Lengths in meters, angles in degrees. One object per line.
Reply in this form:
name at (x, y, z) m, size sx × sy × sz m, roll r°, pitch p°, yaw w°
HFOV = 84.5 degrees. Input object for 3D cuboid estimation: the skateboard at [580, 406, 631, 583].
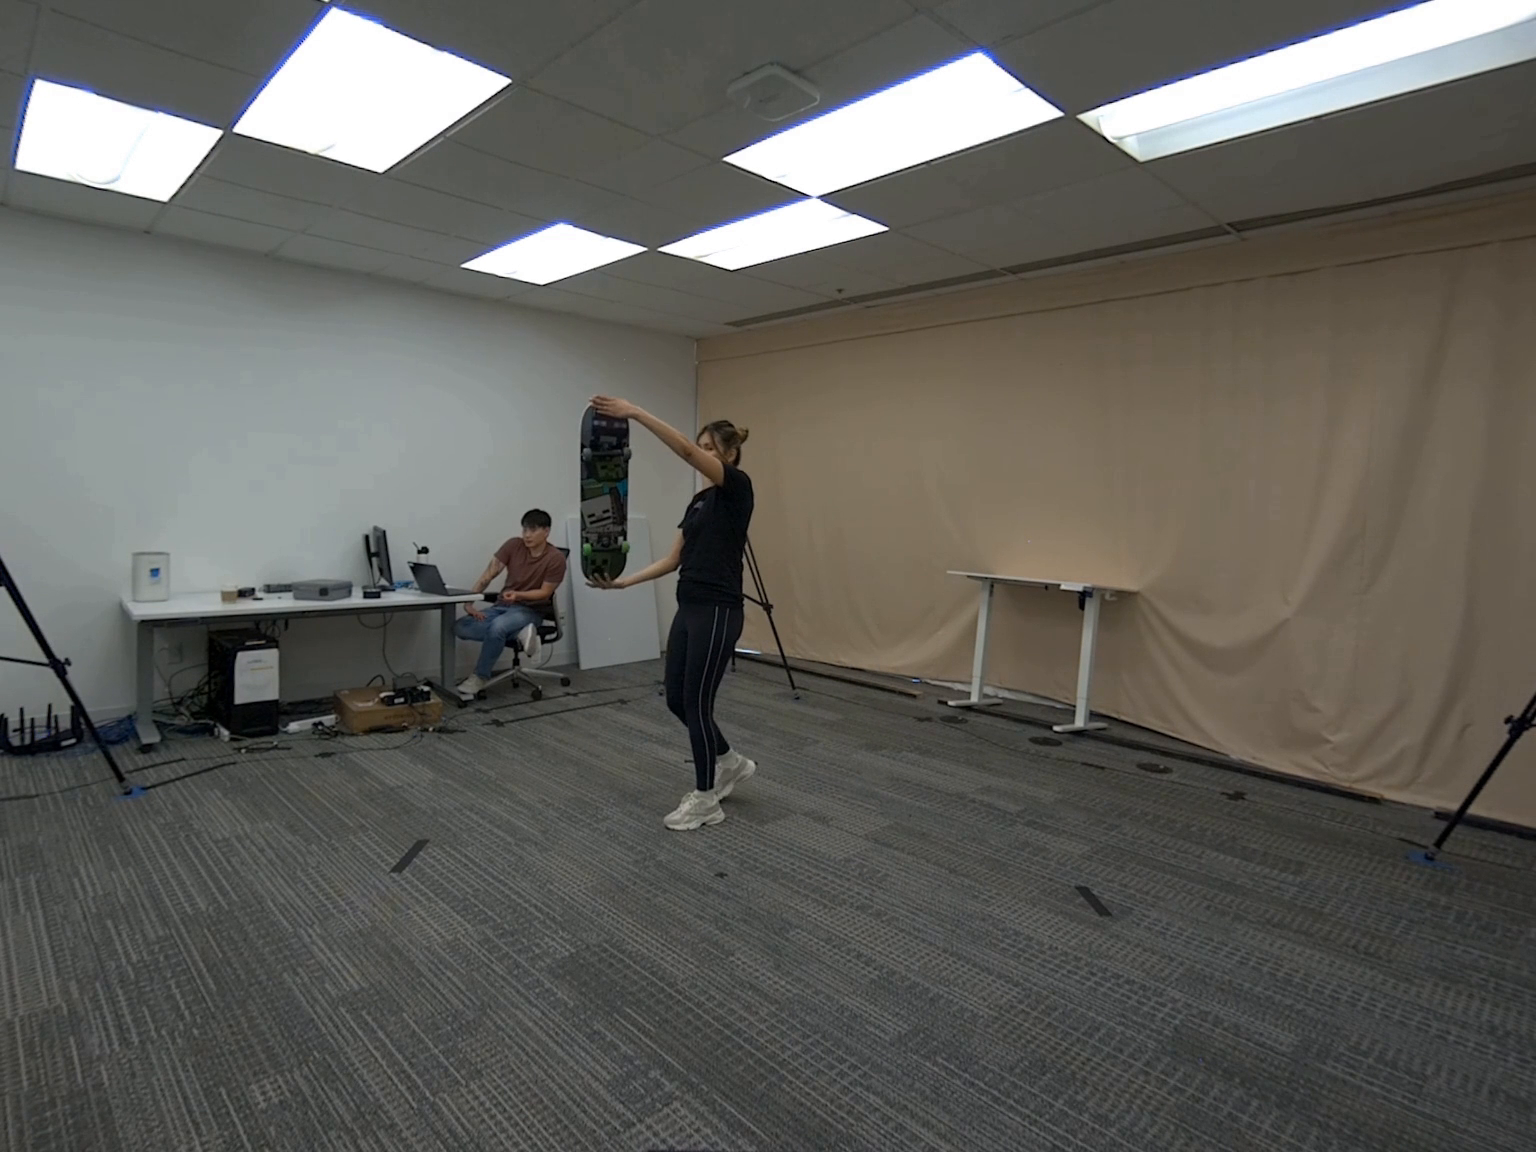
skateboard at (-0.654, -0.299, 3.347) m, size 0.191 × 0.773 × 0.113 m, roll -4°, pitch 25°, yaw -19°
